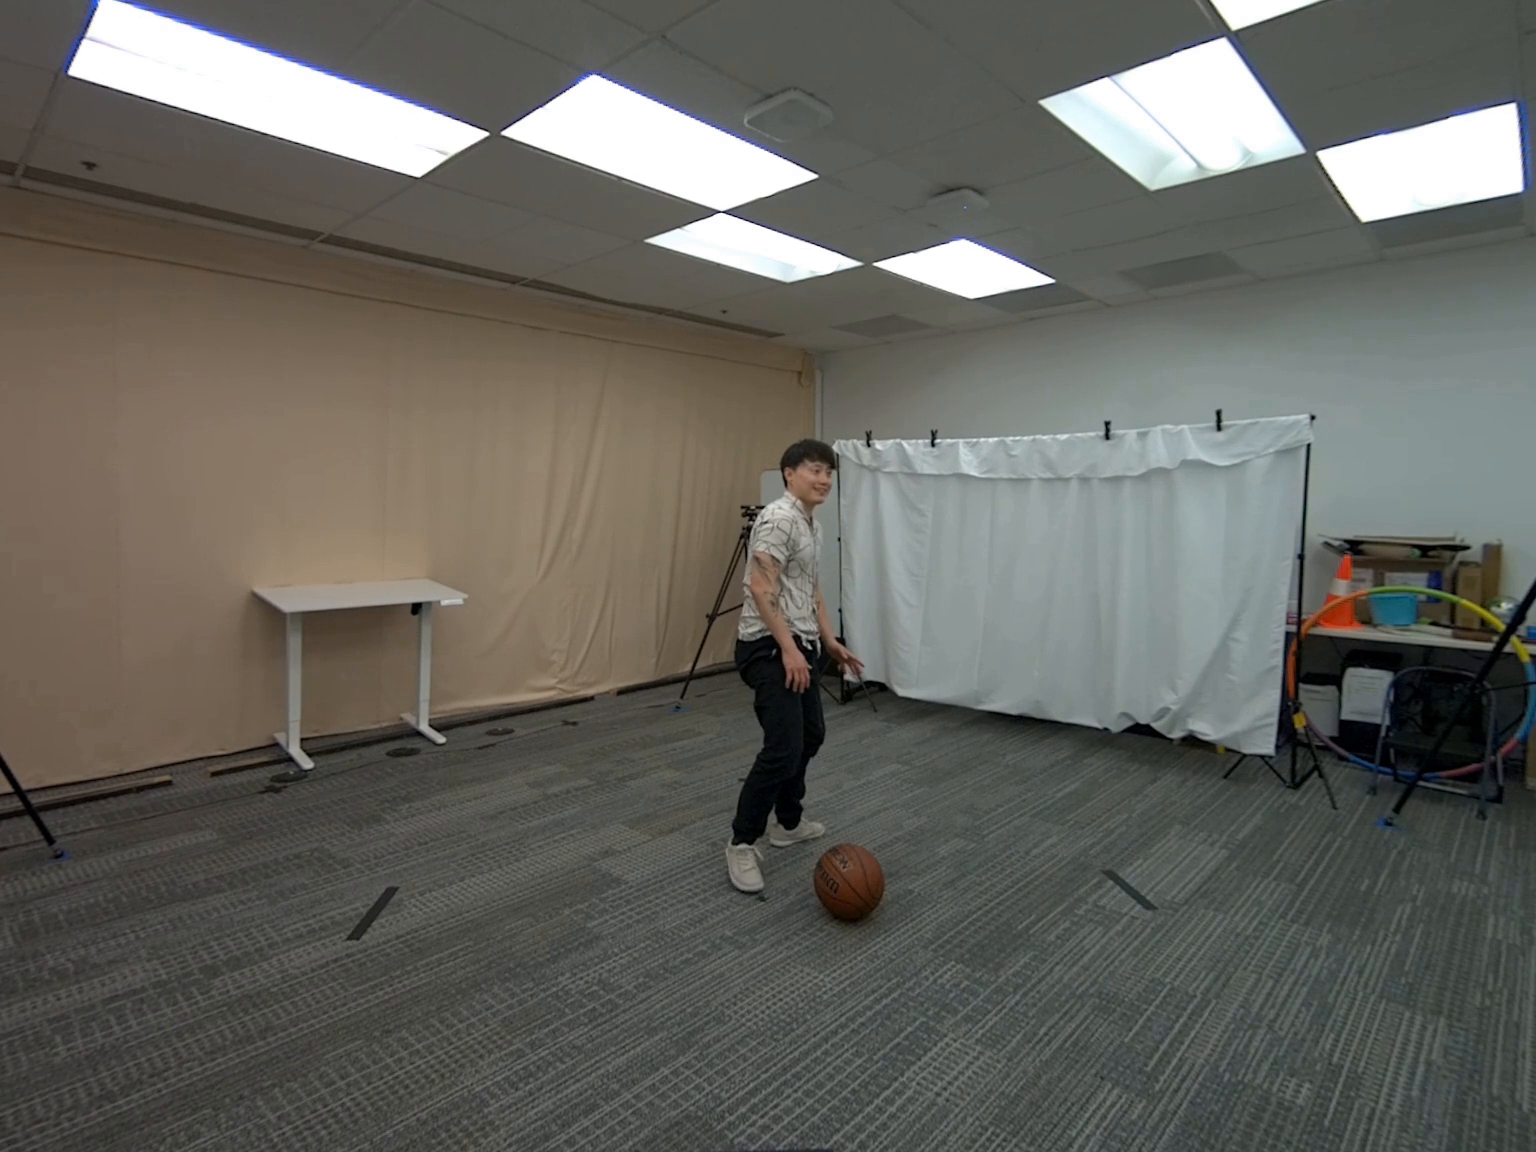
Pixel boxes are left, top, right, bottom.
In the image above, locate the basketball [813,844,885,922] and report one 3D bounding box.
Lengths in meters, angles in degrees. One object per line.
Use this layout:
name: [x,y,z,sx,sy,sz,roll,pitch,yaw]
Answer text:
basketball: [0.284,1.030,2.853,0.236,0.235,0.237,0,4,-2]
